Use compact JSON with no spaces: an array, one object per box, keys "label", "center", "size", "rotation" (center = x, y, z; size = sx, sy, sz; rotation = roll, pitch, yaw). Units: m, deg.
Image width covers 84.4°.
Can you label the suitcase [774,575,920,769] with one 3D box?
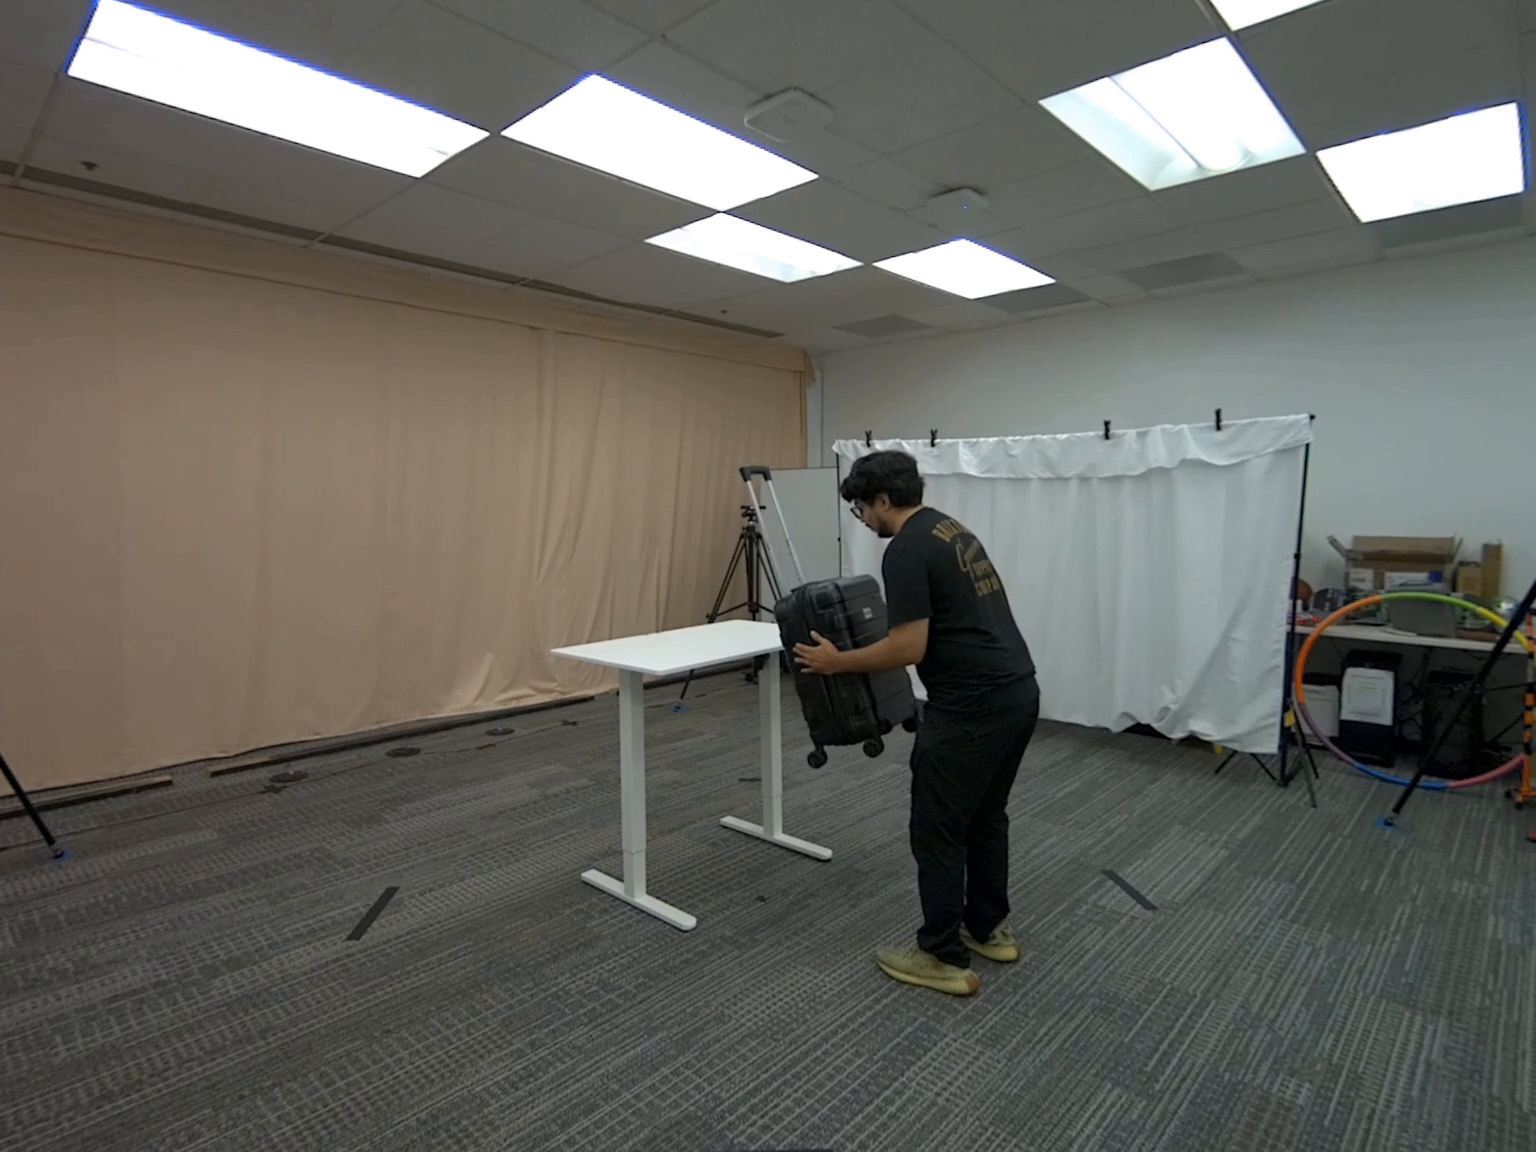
[{"label":"suitcase","center":[0.203,0.079,2.714],"size":[0.263,0.983,0.373],"rotation":[-18,-6,33]}]
